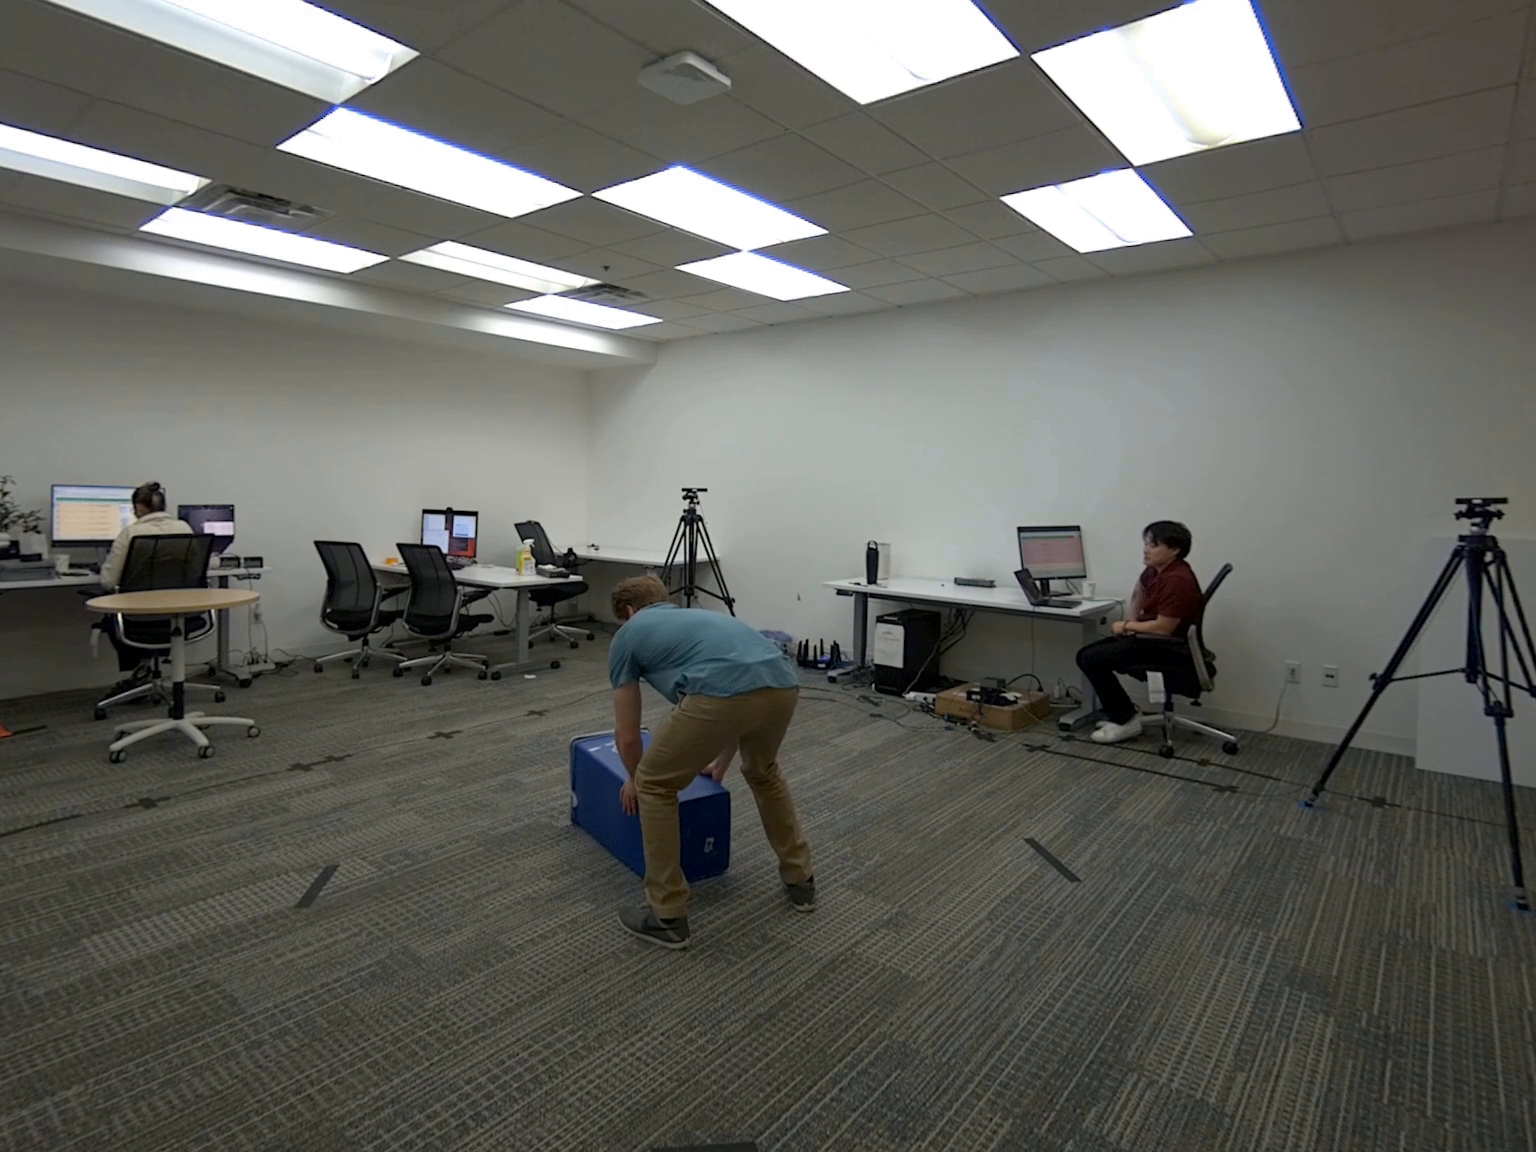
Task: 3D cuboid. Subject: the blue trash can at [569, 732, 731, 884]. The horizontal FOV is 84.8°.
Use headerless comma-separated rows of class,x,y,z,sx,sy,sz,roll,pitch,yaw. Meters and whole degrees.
blue trash can,-0.472,0.882,3.288,0.364,0.376,0.738,-3,9,-35
